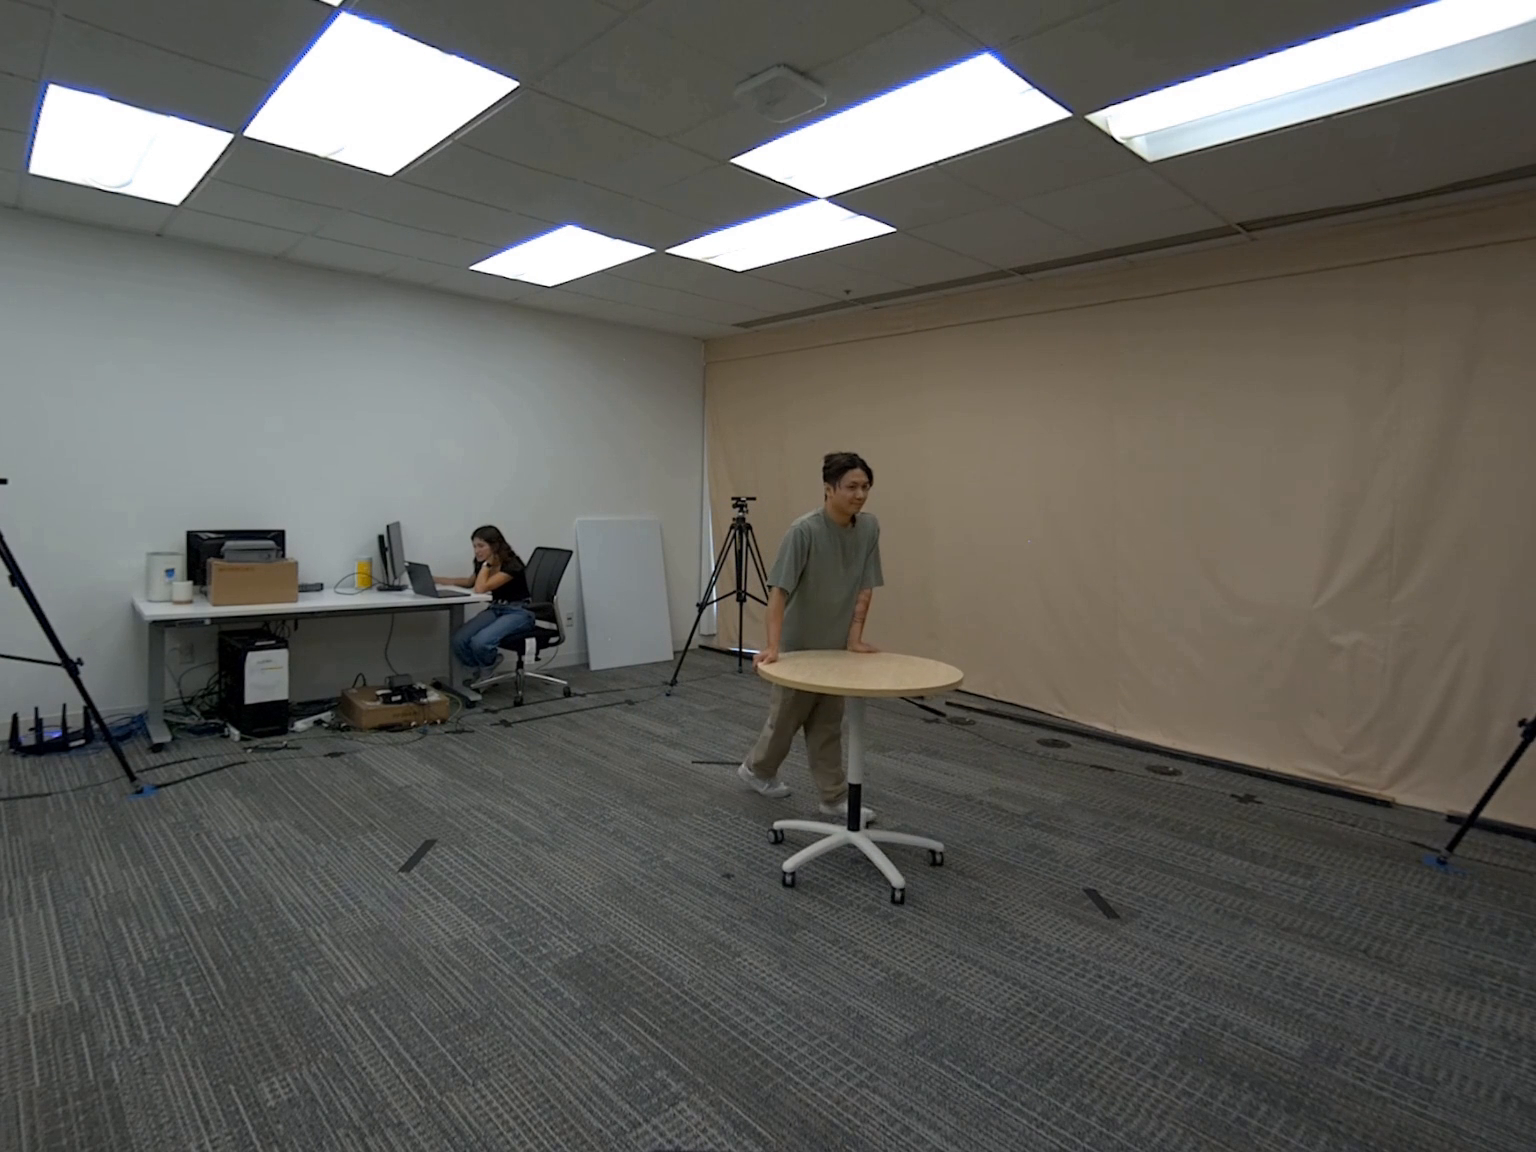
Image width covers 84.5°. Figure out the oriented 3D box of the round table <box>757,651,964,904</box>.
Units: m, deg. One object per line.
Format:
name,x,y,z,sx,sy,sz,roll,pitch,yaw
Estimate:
round table,0.300,0.724,3.196,0.784,0.785,0.787,1,3,-1
